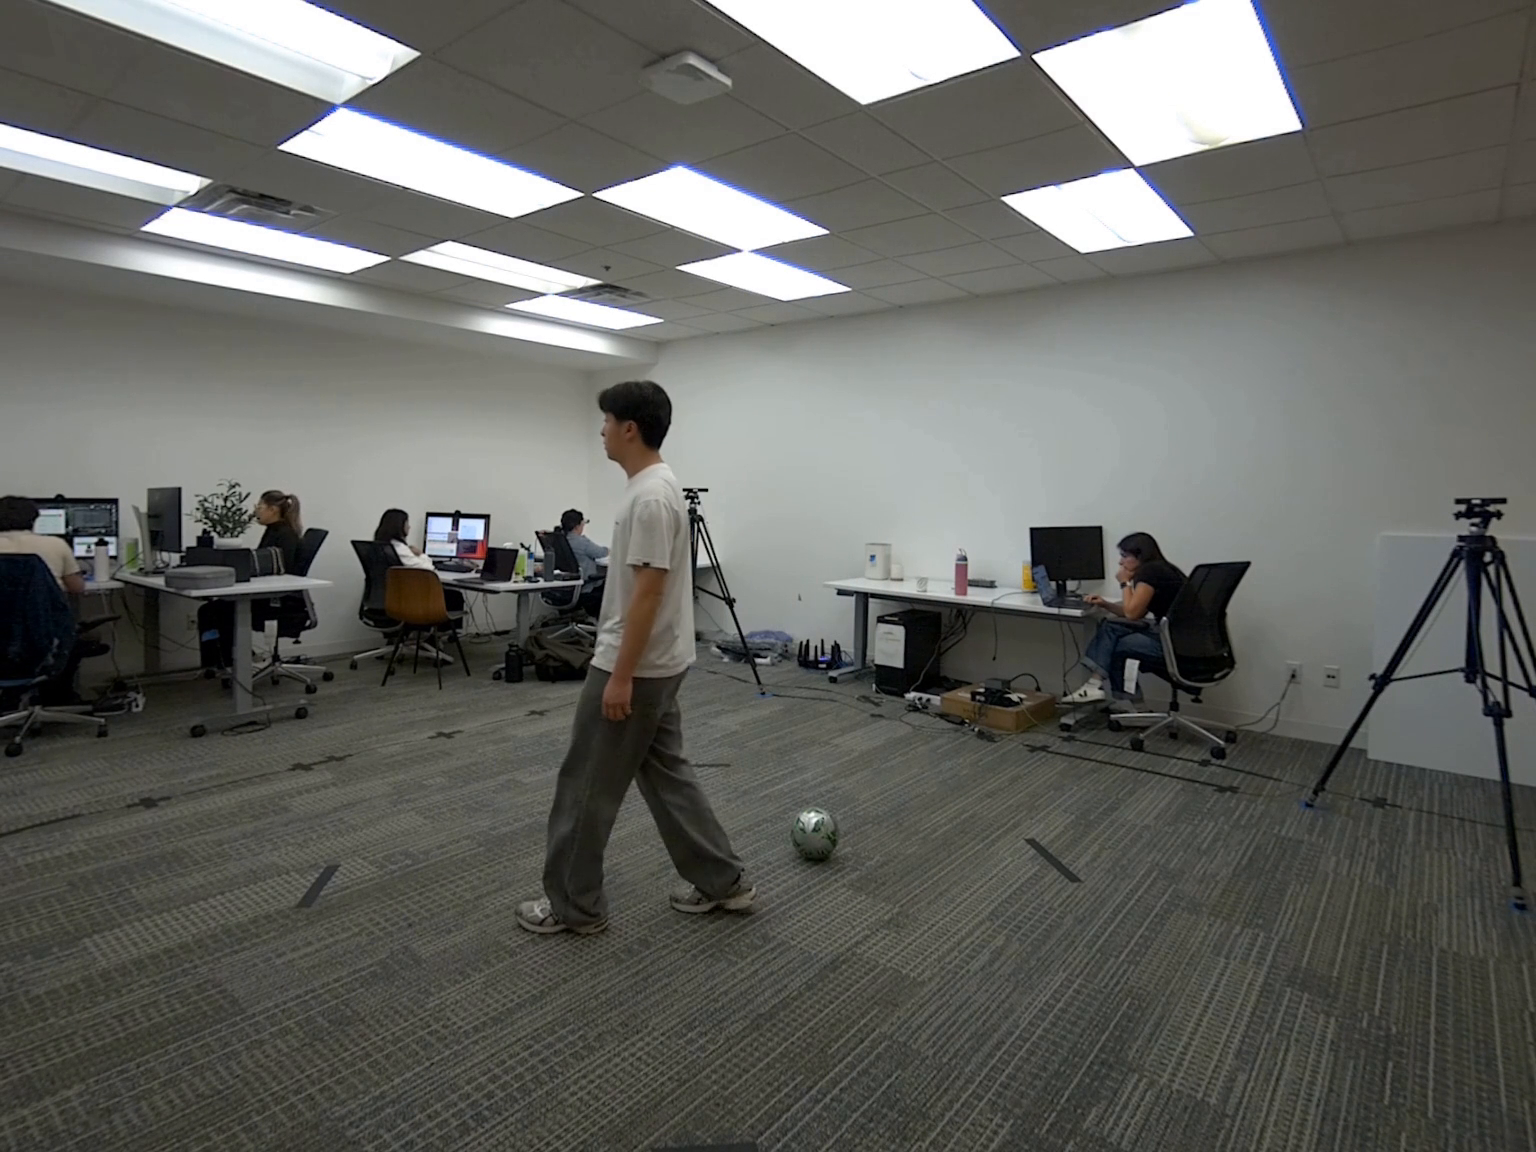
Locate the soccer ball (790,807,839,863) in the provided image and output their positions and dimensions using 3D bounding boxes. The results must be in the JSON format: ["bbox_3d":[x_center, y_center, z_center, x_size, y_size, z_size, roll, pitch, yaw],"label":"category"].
[{"bbox_3d":[0.183,0.966,3.235,0.187,0.187,0.188,1,4,-2],"label":"soccer ball"}]
